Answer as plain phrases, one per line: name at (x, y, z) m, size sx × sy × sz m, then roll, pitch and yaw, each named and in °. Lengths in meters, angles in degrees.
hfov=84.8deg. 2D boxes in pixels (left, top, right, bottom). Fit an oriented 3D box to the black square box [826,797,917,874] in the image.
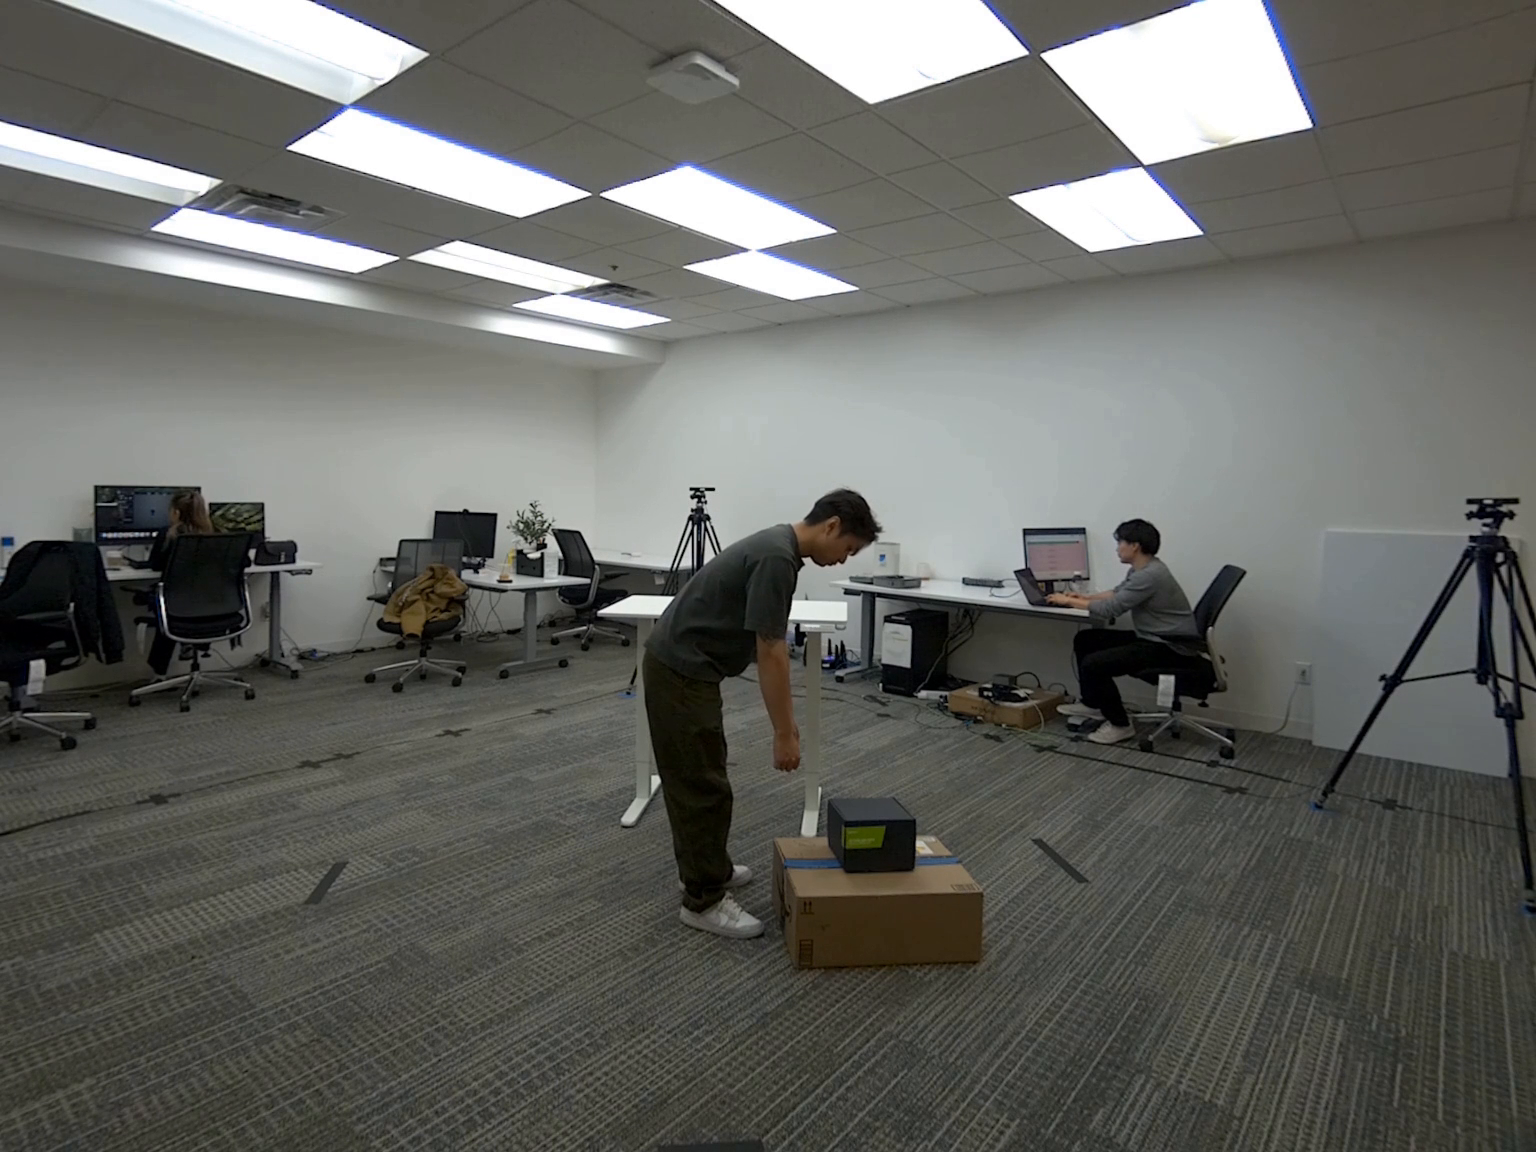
black square box at (0.313, 0.815, 2.719) m, size 0.226 × 0.155 × 0.219 m, roll 1°, pitch 3°, yaw -9°
